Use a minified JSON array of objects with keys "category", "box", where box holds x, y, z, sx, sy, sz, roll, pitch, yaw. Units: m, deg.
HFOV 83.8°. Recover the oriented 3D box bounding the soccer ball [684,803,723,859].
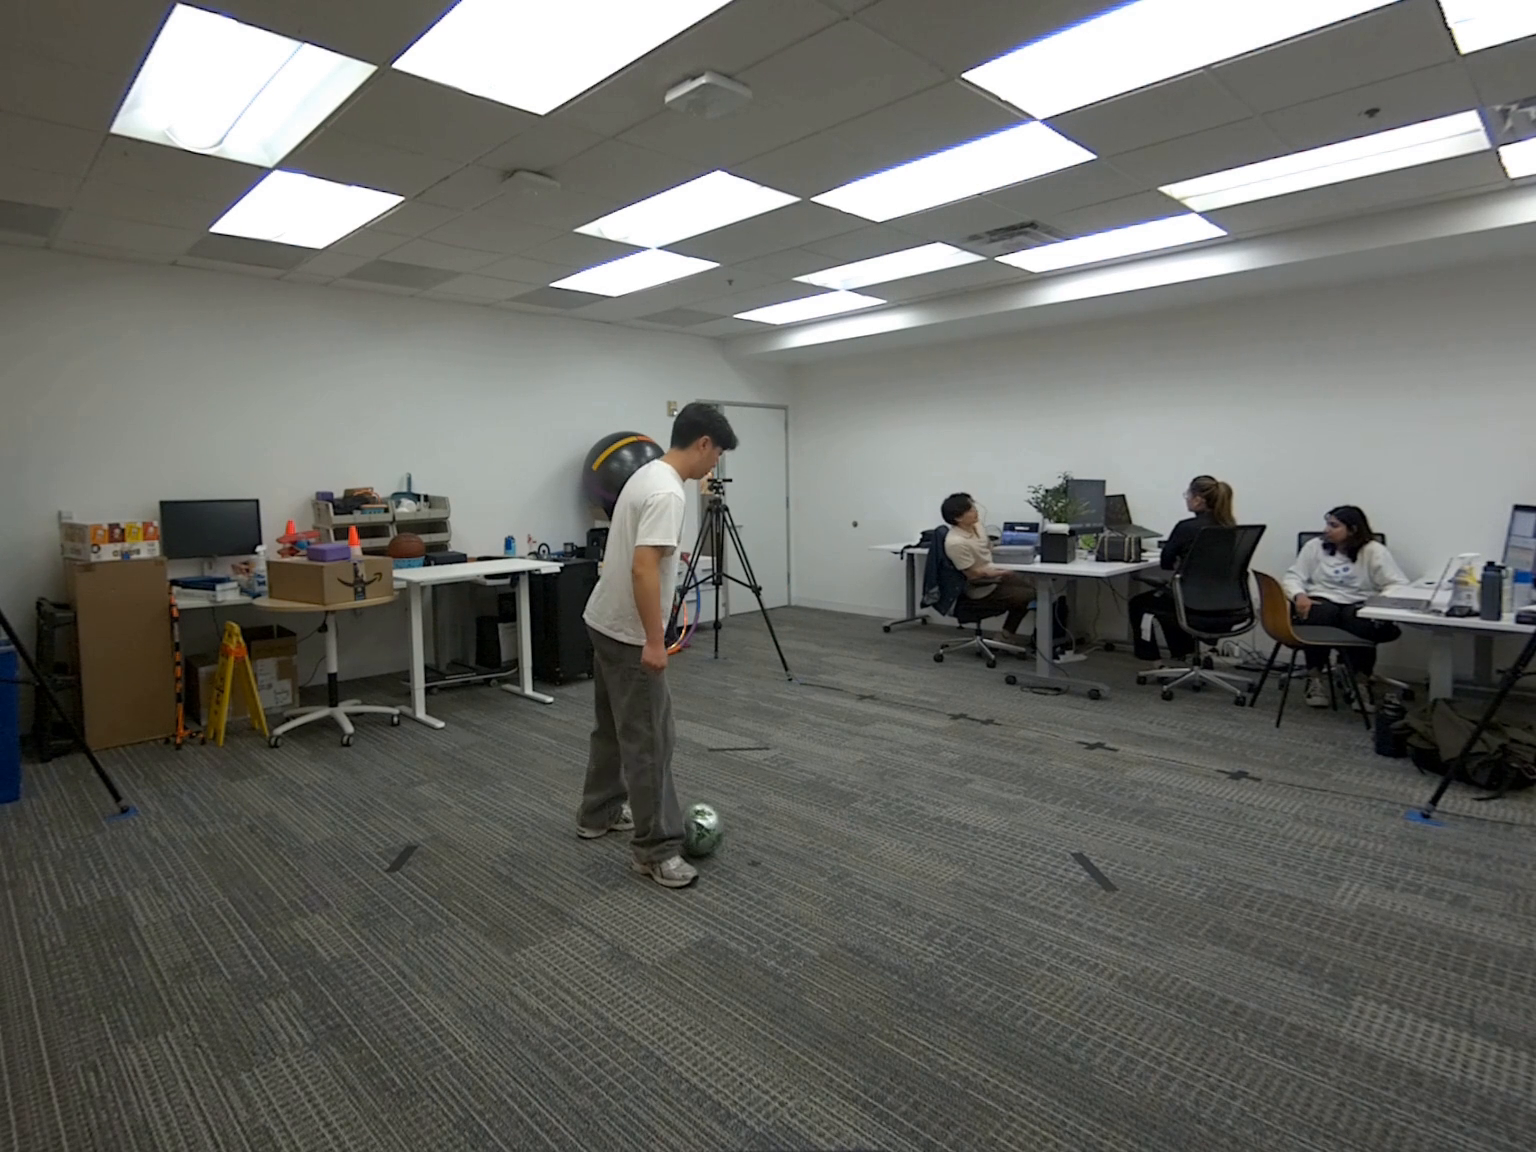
[{"category":"soccer ball","box":[-0.250,0.945,3.187,0.187,0.187,0.188,-1,5,-2]}]
